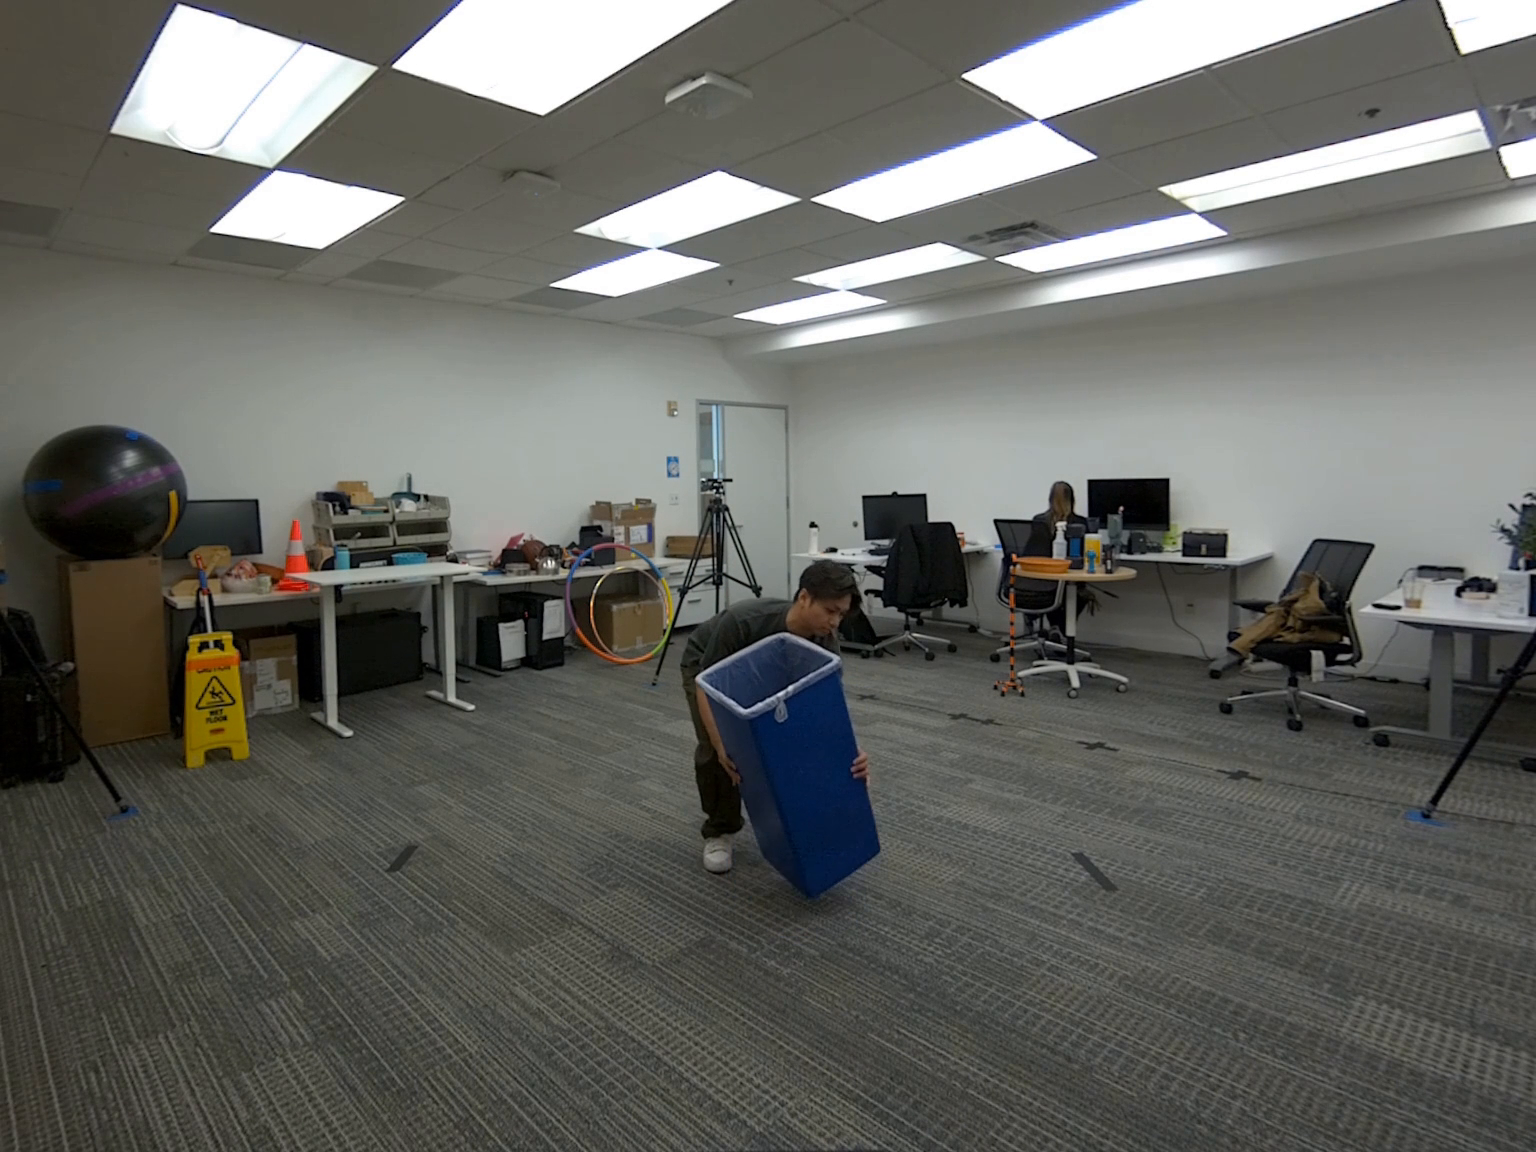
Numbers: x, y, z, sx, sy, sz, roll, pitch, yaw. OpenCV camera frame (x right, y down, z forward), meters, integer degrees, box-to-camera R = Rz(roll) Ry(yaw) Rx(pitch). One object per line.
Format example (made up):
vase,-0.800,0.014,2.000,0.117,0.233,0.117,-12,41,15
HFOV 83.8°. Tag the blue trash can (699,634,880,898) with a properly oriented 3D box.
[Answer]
blue trash can,0.087,0.619,2.758,0.369,0.701,0.389,-24,18,-25
